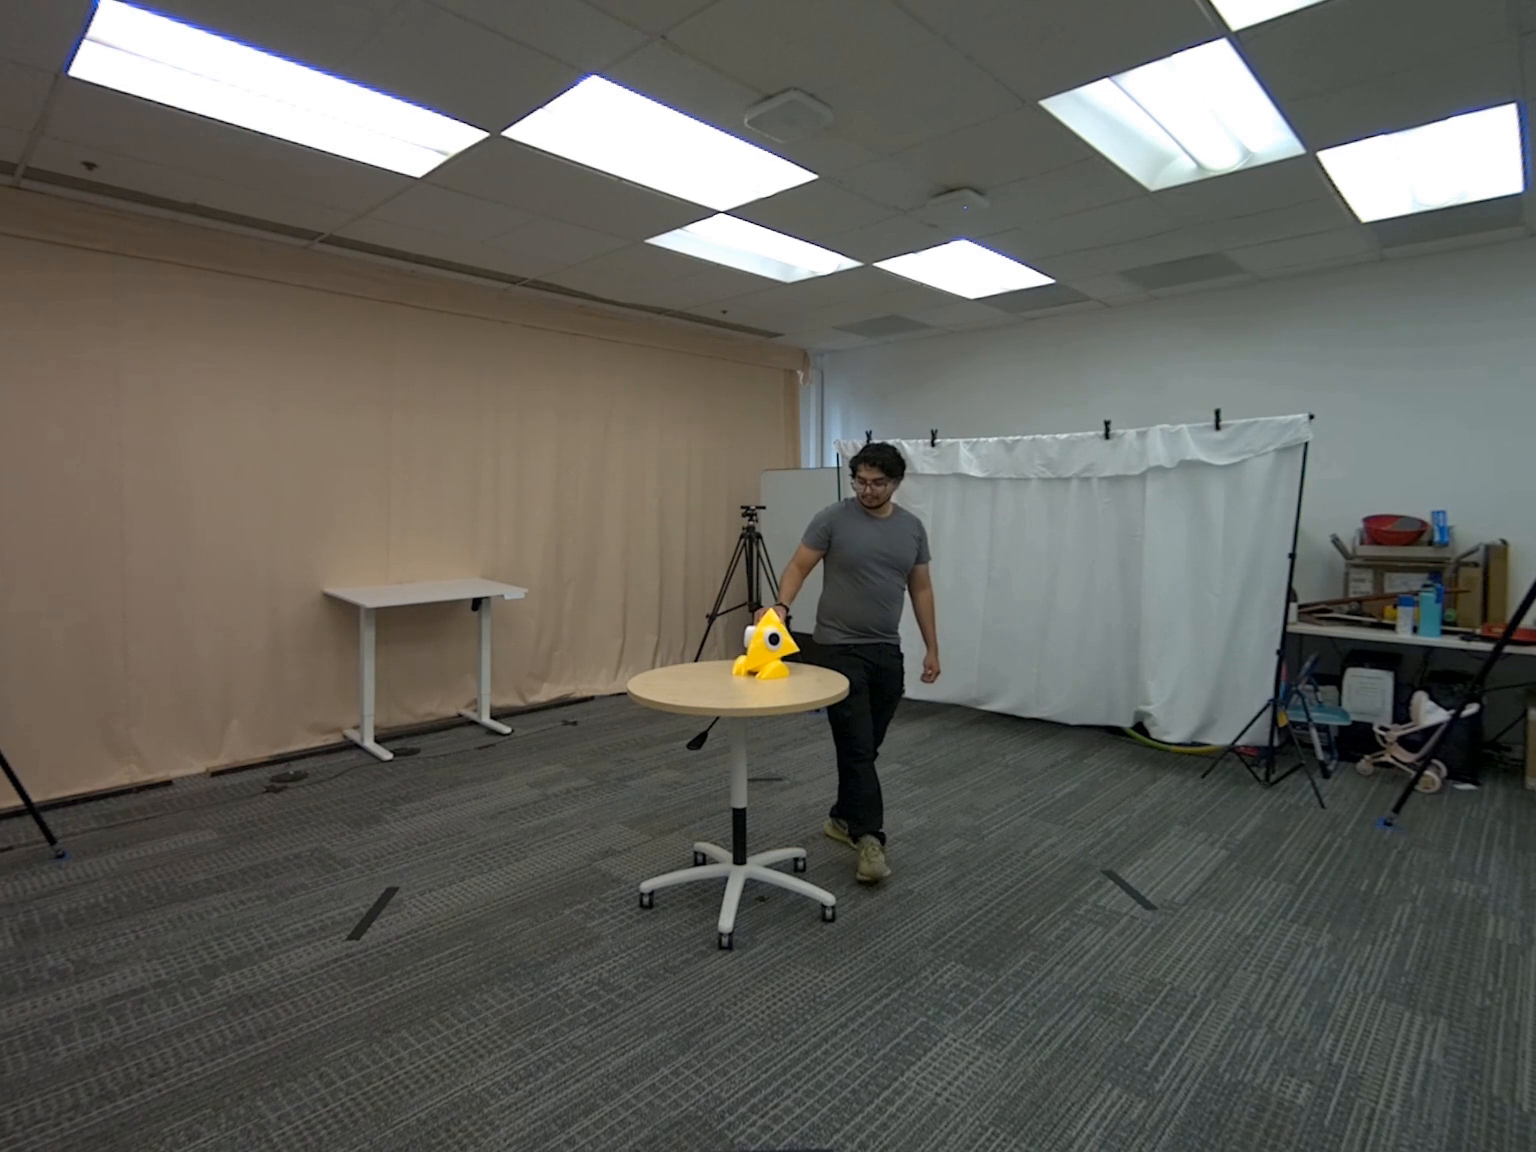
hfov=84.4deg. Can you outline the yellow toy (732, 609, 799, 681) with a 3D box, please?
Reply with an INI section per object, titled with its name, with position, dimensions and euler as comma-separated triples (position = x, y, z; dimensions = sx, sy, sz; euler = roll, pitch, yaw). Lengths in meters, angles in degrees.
[yellow toy]
position = -0.023, 0.241, 3.035
dimensions = 0.211, 0.230, 0.187
euler = 3, 6, 39
